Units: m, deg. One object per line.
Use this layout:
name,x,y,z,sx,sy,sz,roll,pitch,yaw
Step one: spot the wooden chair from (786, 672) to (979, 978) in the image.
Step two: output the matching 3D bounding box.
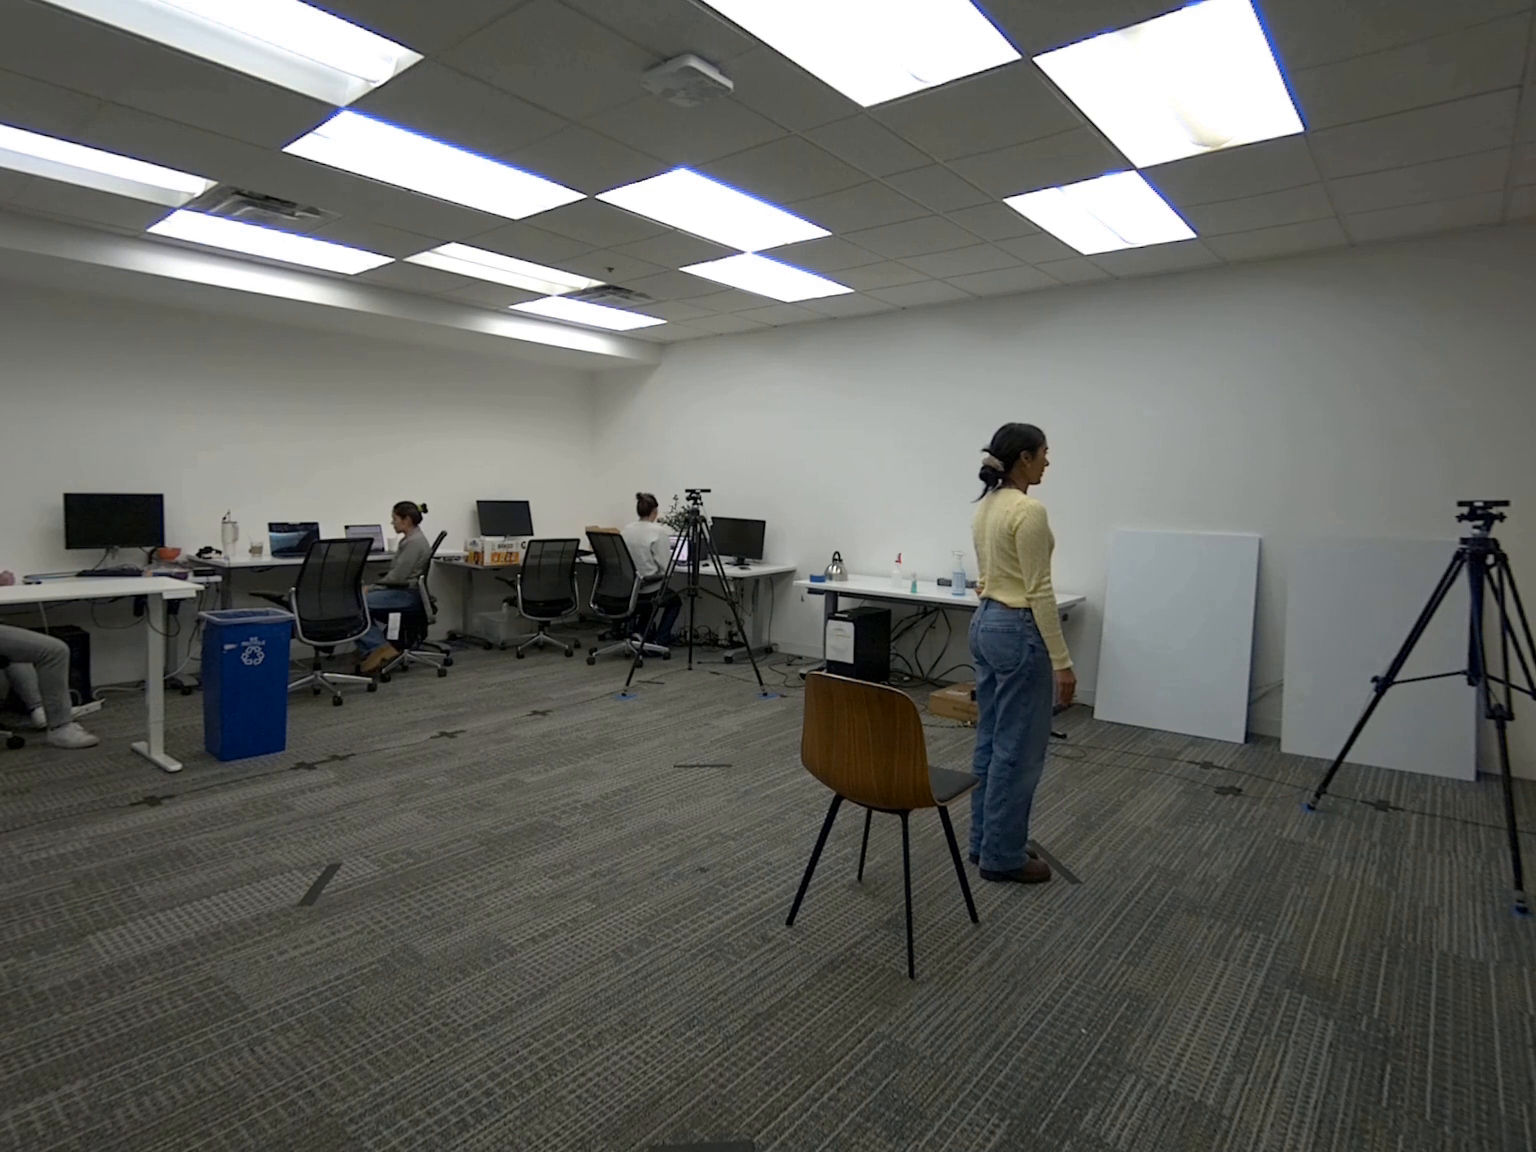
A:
wooden chair,0.379,0.697,2.730,0.494,0.872,0.509,4,8,38
